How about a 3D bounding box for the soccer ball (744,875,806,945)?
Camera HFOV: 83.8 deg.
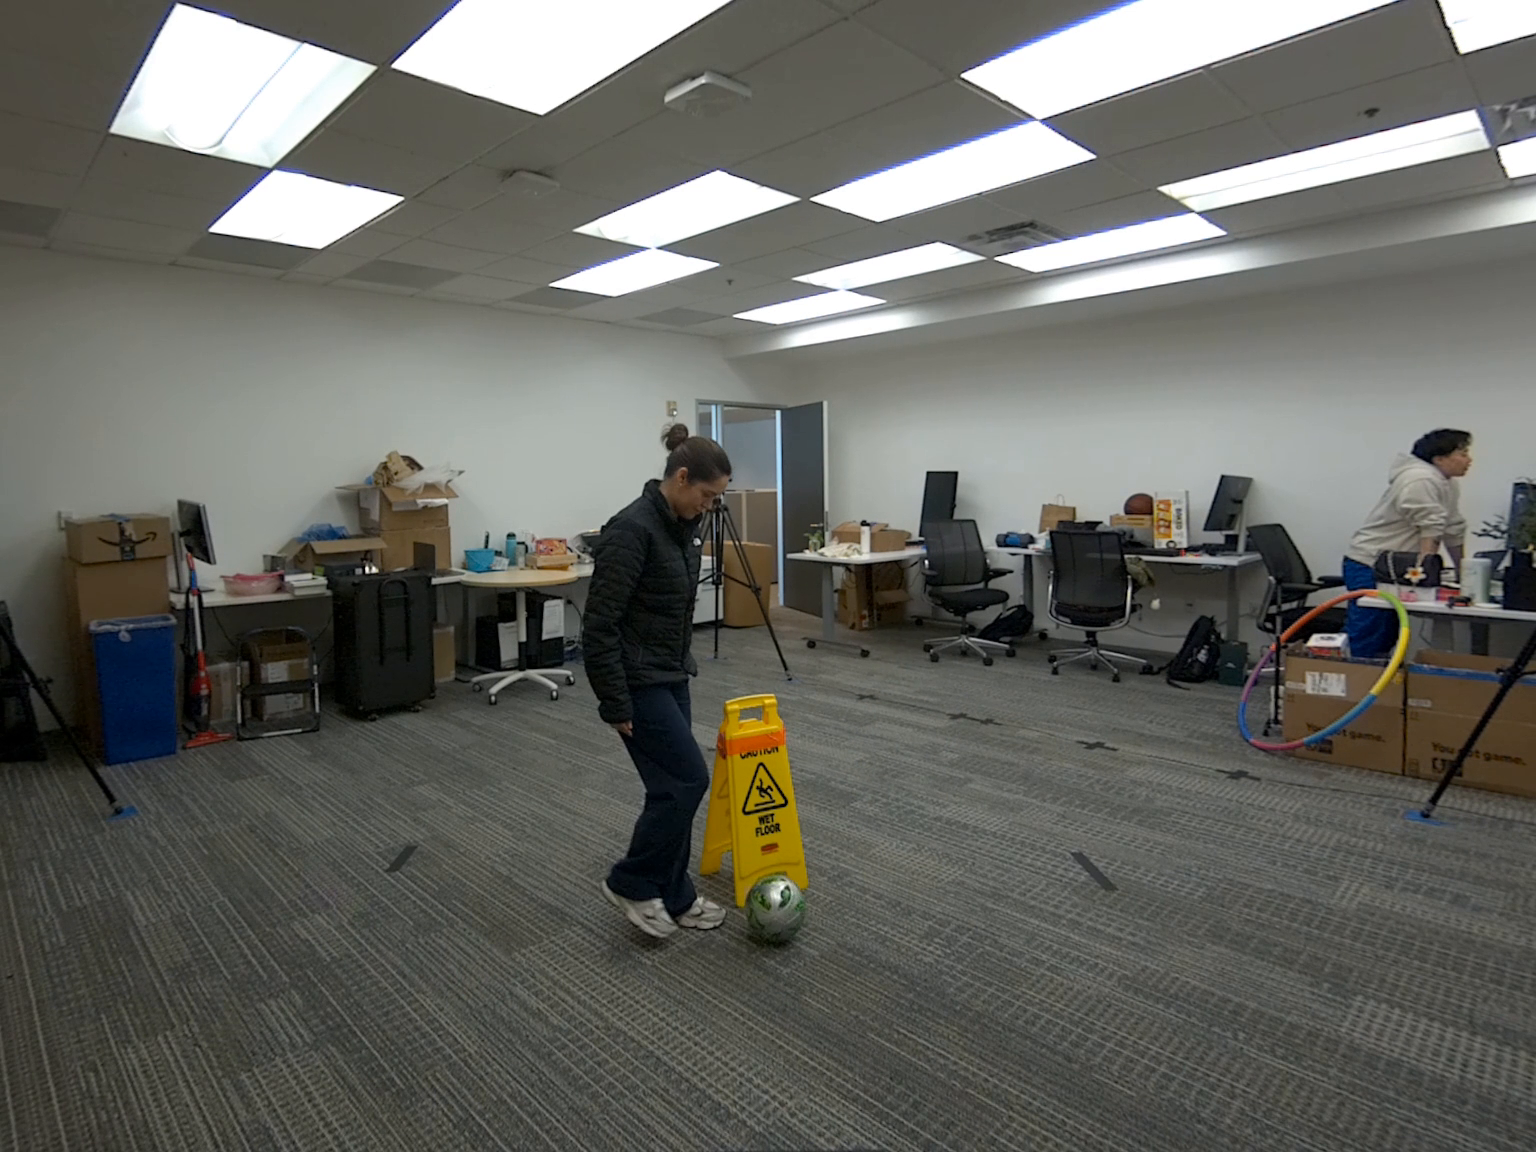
[{"bbox_3d":[0.013,1.004,2.595,0.187,0.187,0.188,-1,5,-2],"label":"soccer ball"}]
